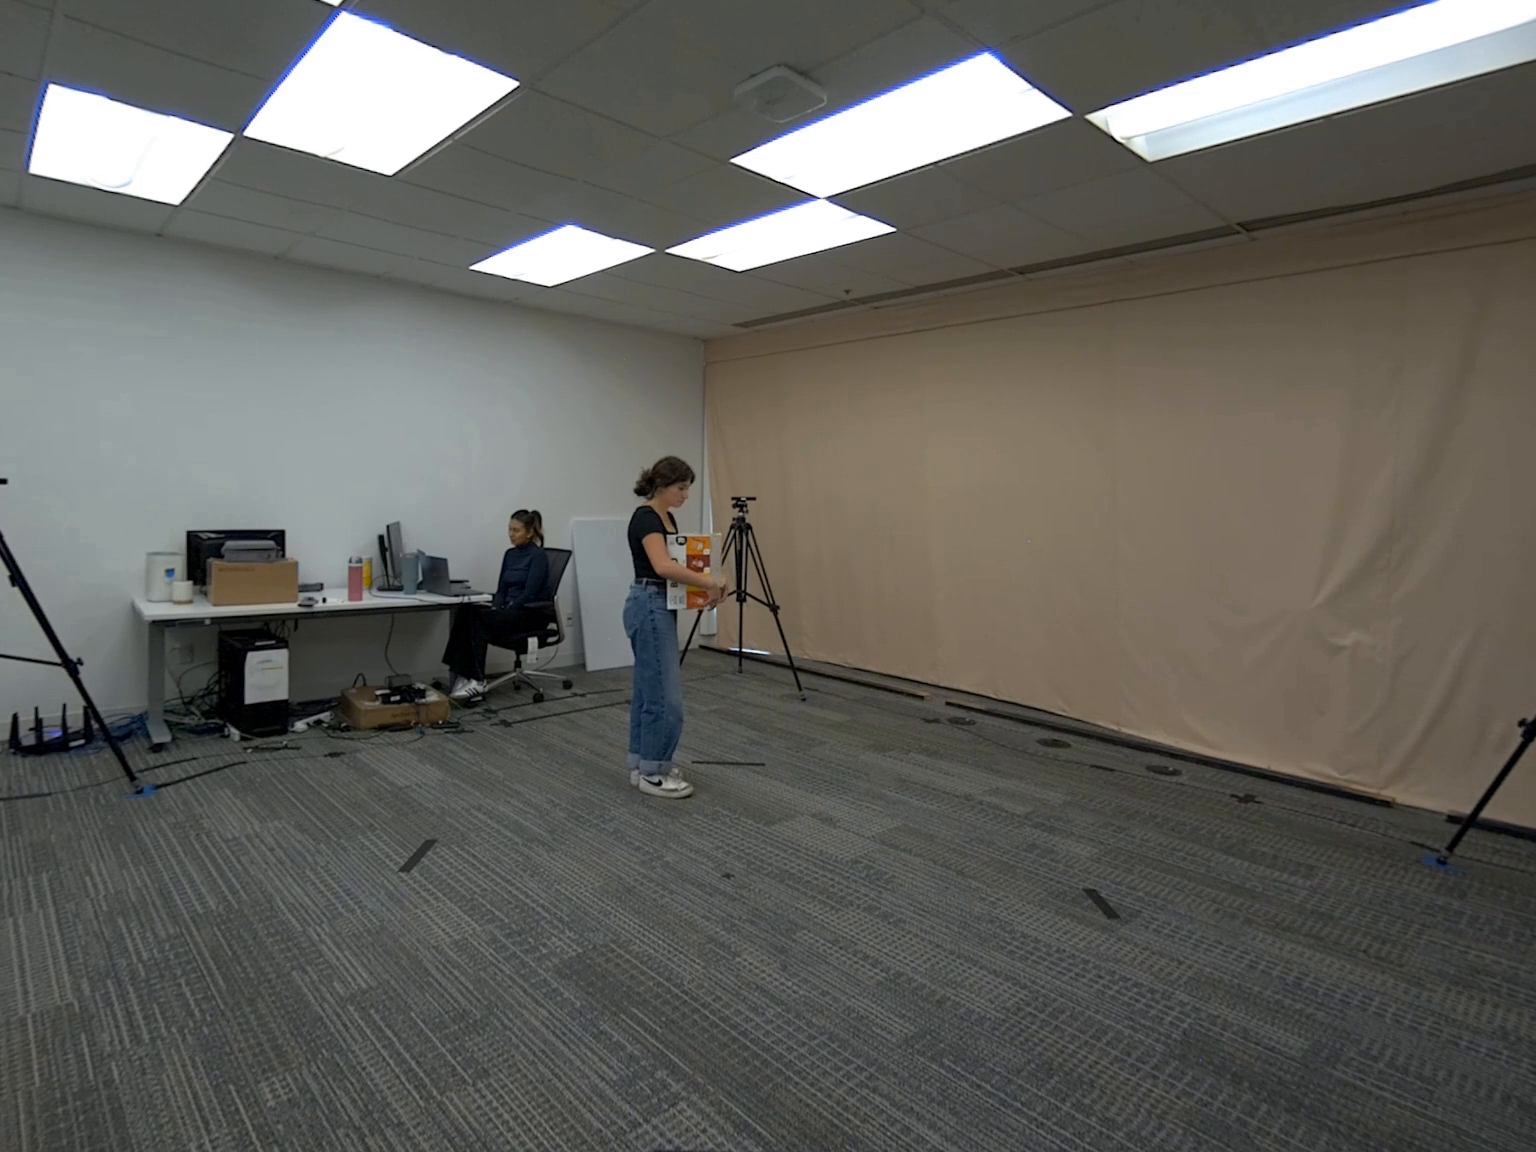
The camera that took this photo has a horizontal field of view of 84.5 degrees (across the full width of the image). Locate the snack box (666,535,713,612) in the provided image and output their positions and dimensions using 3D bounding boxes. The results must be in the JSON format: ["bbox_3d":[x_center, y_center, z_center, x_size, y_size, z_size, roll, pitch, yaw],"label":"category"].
[{"bbox_3d":[-0.354,-0.034,4.051,0.207,0.339,0.403,0,3,7],"label":"snack box"}]
